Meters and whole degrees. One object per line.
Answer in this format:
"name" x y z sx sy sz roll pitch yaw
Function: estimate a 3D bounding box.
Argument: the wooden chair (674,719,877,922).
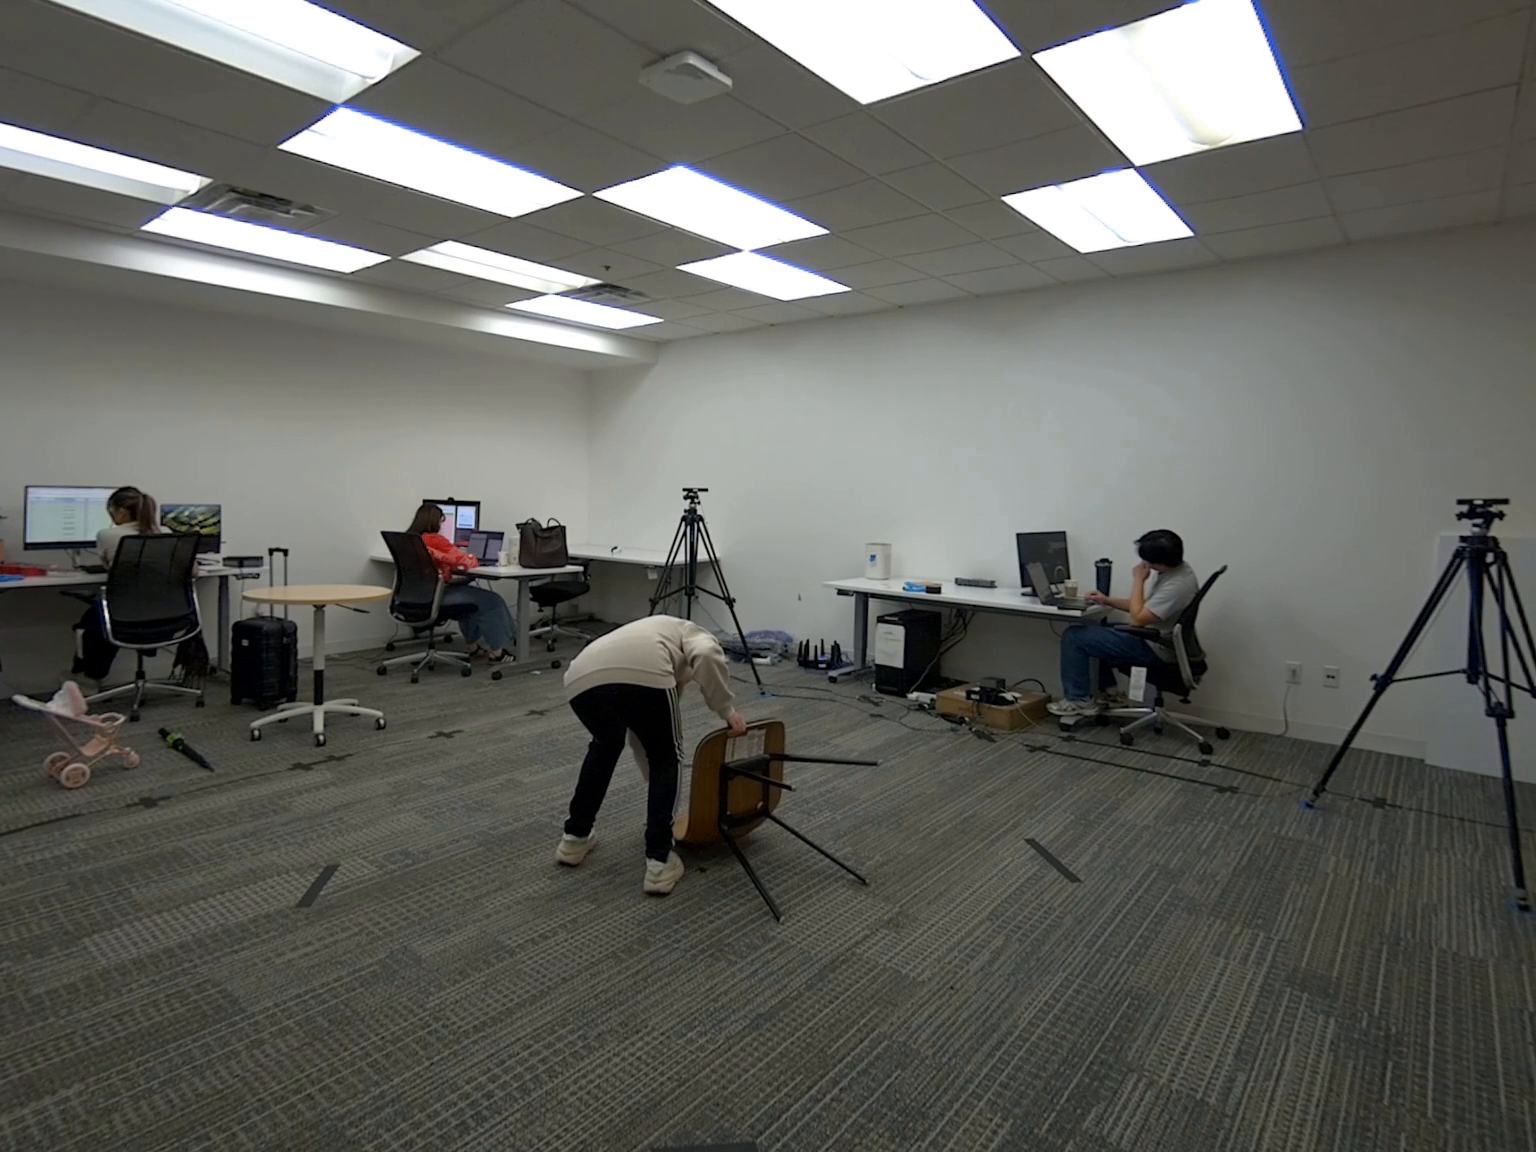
"wooden chair" -0.085 0.802 3.163 0.463 0.522 0.907 -2 5 -44
